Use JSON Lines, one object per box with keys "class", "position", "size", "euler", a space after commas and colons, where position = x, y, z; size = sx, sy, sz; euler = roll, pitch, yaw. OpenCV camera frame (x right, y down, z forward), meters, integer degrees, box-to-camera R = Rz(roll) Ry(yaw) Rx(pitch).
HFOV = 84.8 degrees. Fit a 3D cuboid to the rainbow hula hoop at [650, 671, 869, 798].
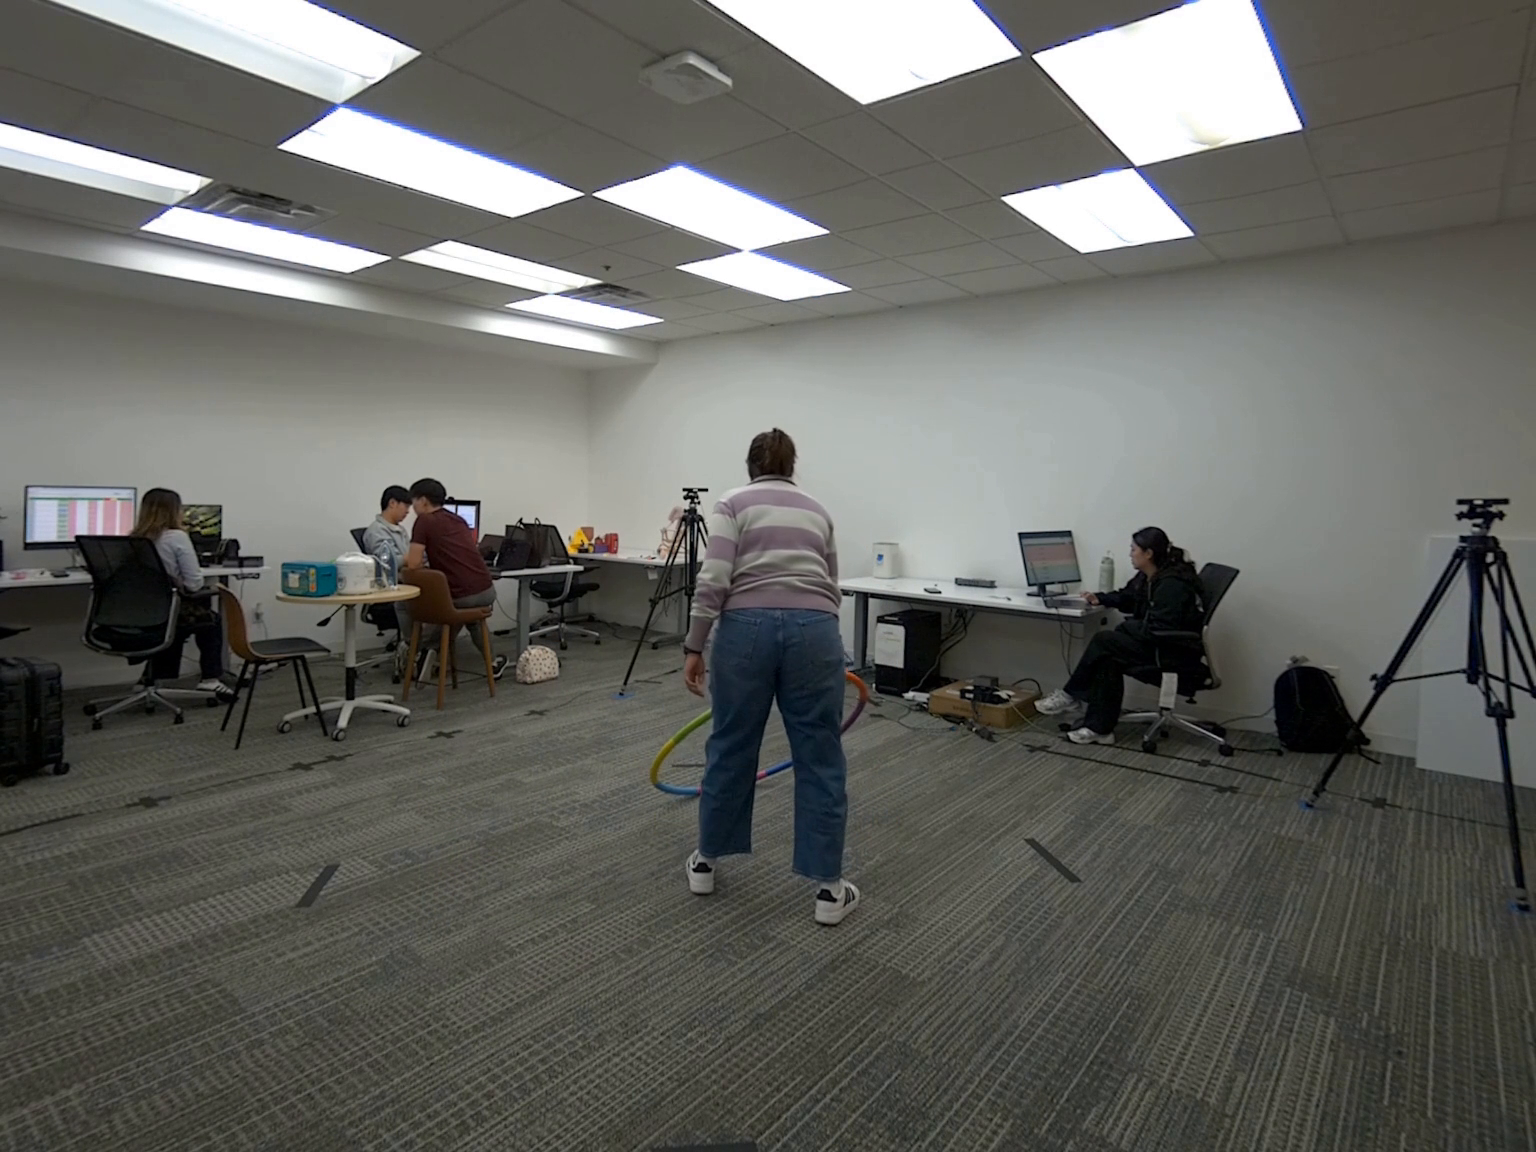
{"class": "rainbow hula hoop", "position": [-0.055, 0.680, 3.610], "size": [0.970, 0.037, 0.953], "euler": [-17, -31, -13]}
